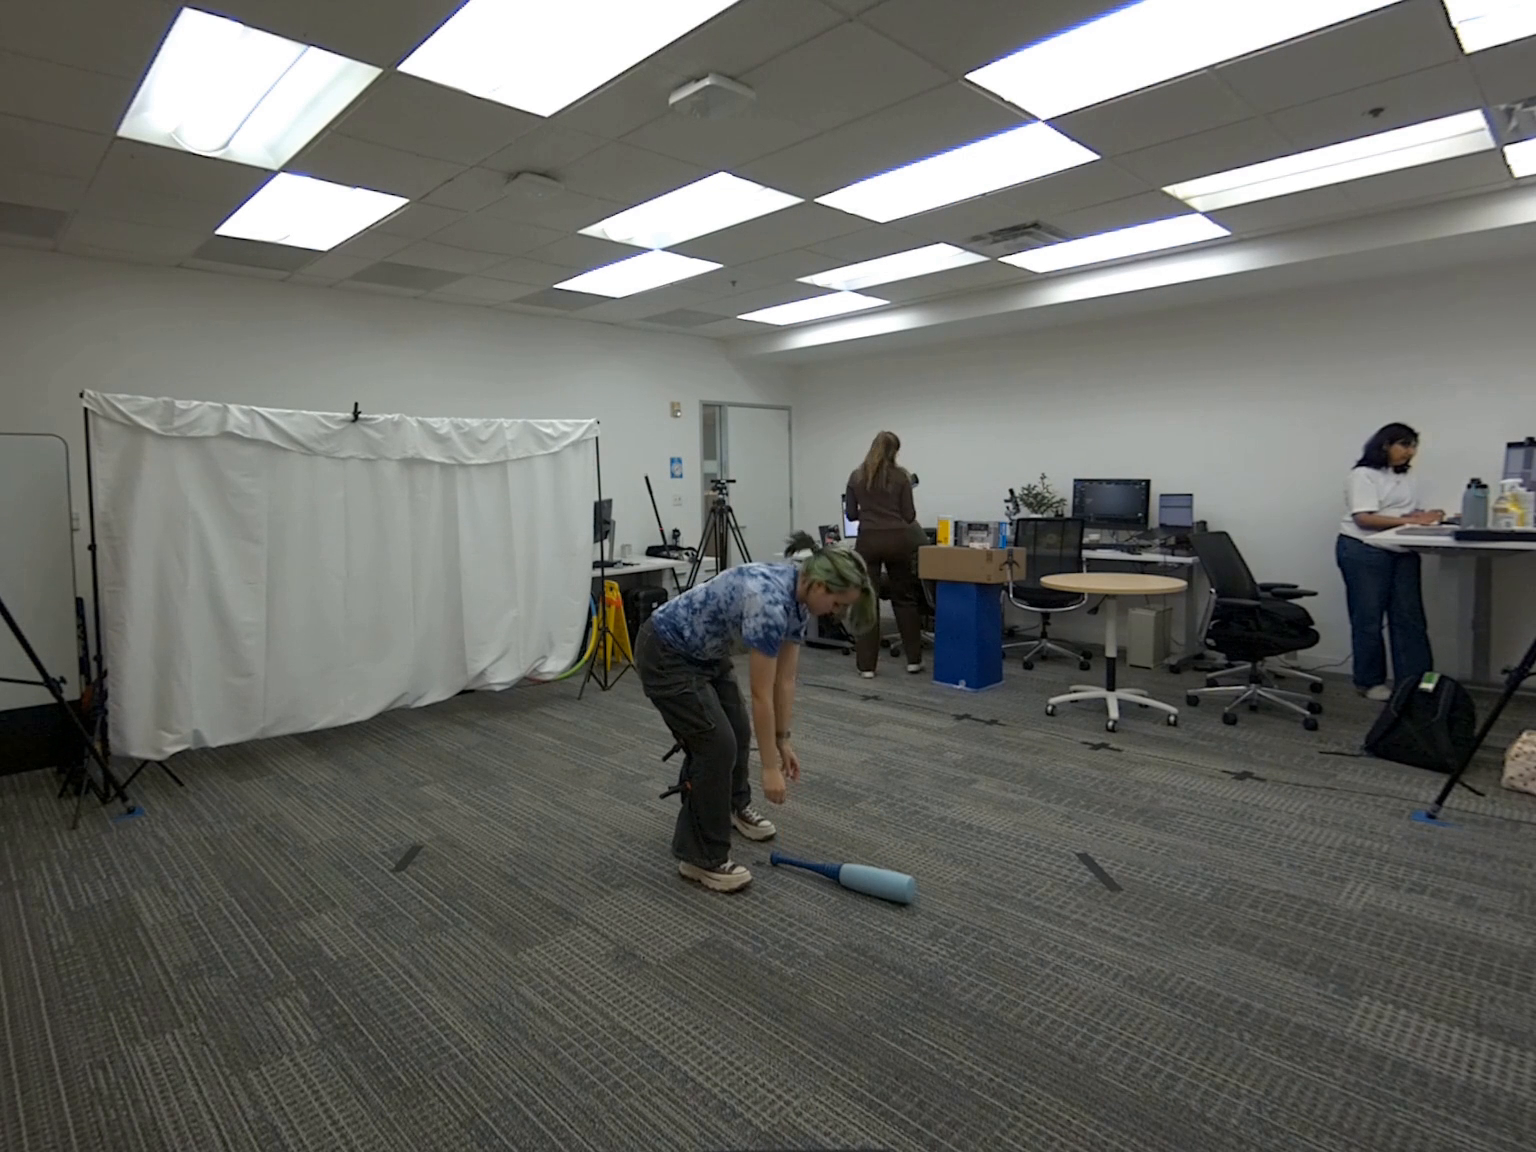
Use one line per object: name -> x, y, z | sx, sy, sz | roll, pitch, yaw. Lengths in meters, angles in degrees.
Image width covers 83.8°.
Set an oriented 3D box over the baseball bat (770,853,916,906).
baseball bat -> 0.239, 1.023, 2.938 | 0.558, 0.089, 0.087 | 0, 4, 35
